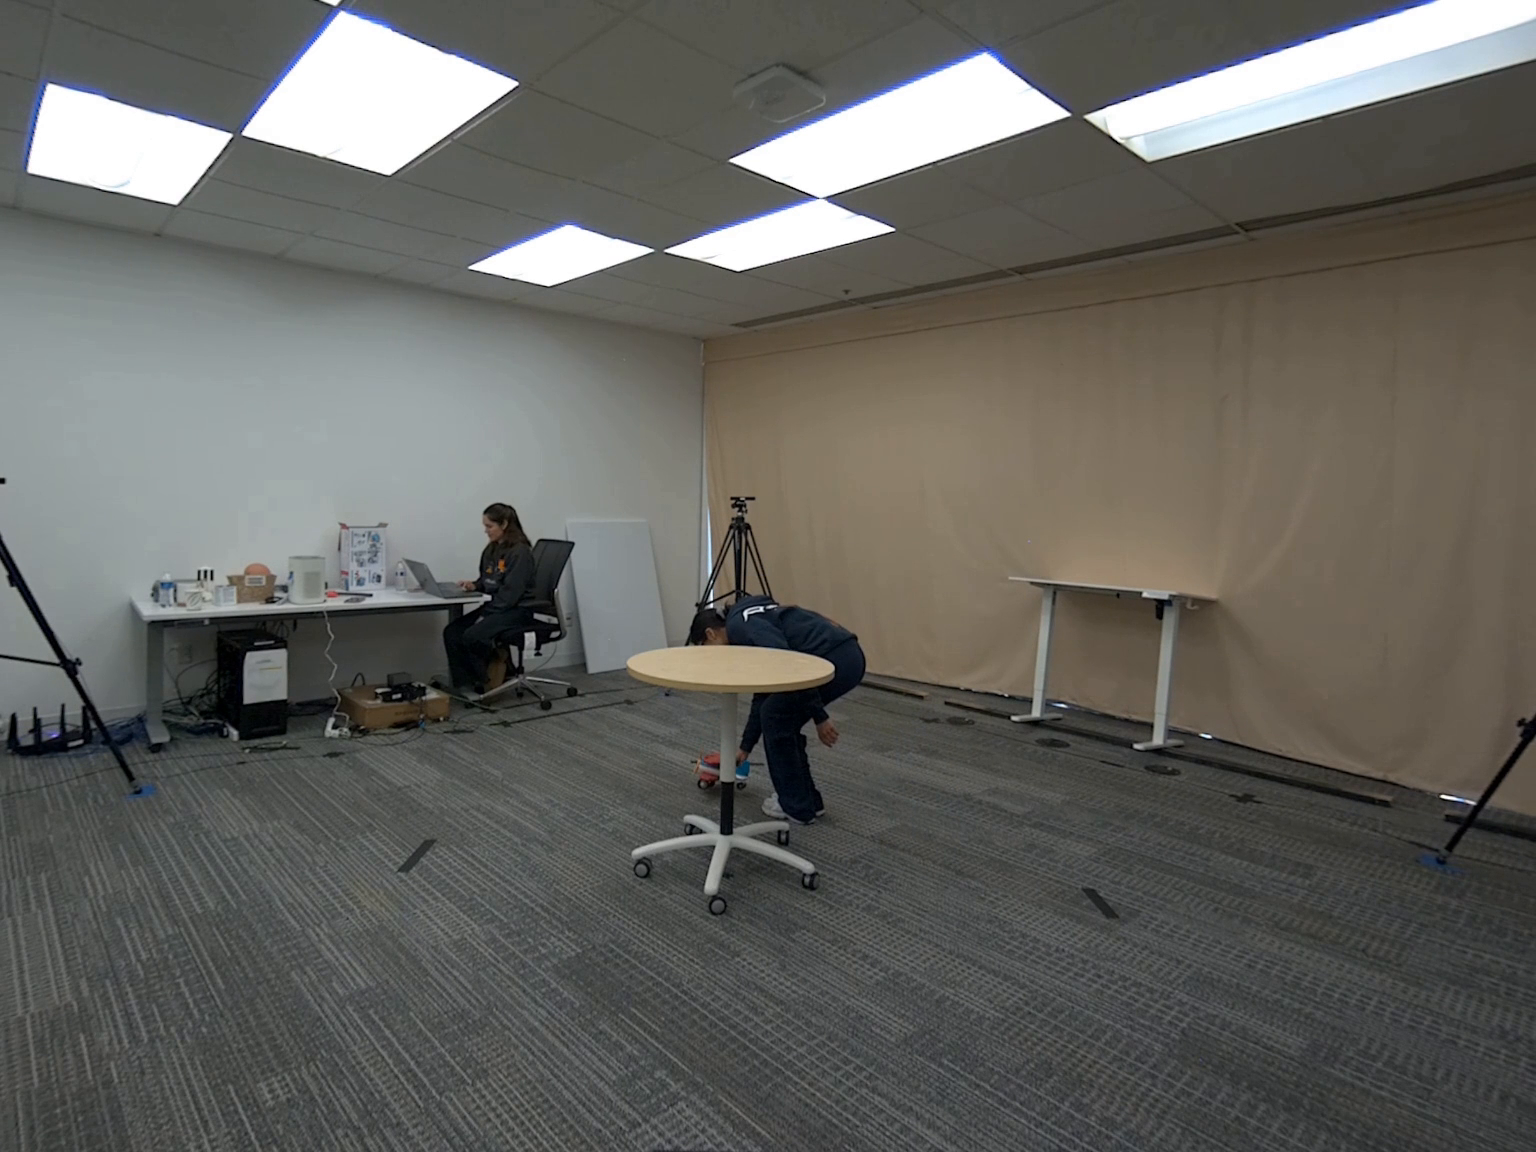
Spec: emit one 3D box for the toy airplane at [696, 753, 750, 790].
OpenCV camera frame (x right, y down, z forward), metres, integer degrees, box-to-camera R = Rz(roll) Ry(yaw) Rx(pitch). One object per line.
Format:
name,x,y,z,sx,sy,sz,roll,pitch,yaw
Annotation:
toy airplane,-0.221,0.931,4.022,0.257,0.157,0.252,-1,-7,-11
